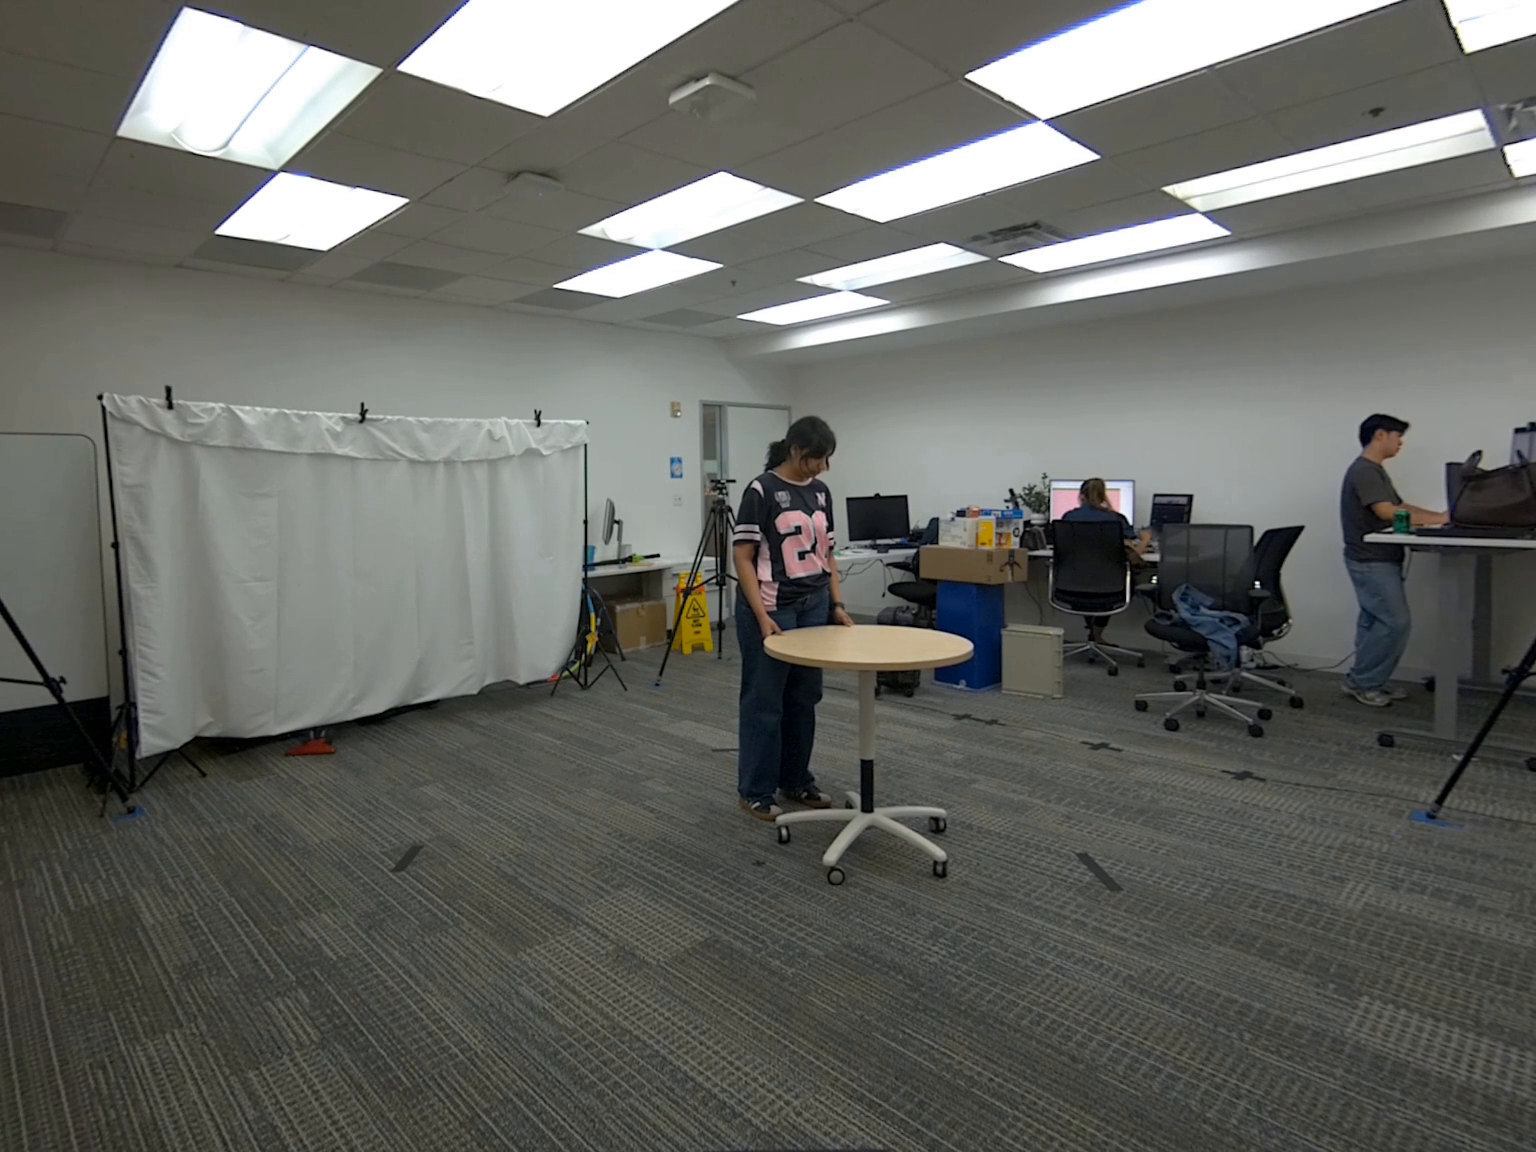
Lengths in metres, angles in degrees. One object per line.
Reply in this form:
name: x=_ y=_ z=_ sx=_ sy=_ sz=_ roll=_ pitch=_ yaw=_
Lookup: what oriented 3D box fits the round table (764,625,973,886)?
round table: x=0.376 y=0.640 z=3.202 sx=0.763 sy=0.791 sz=0.768 roll=-1 pitch=5 yaw=-2
